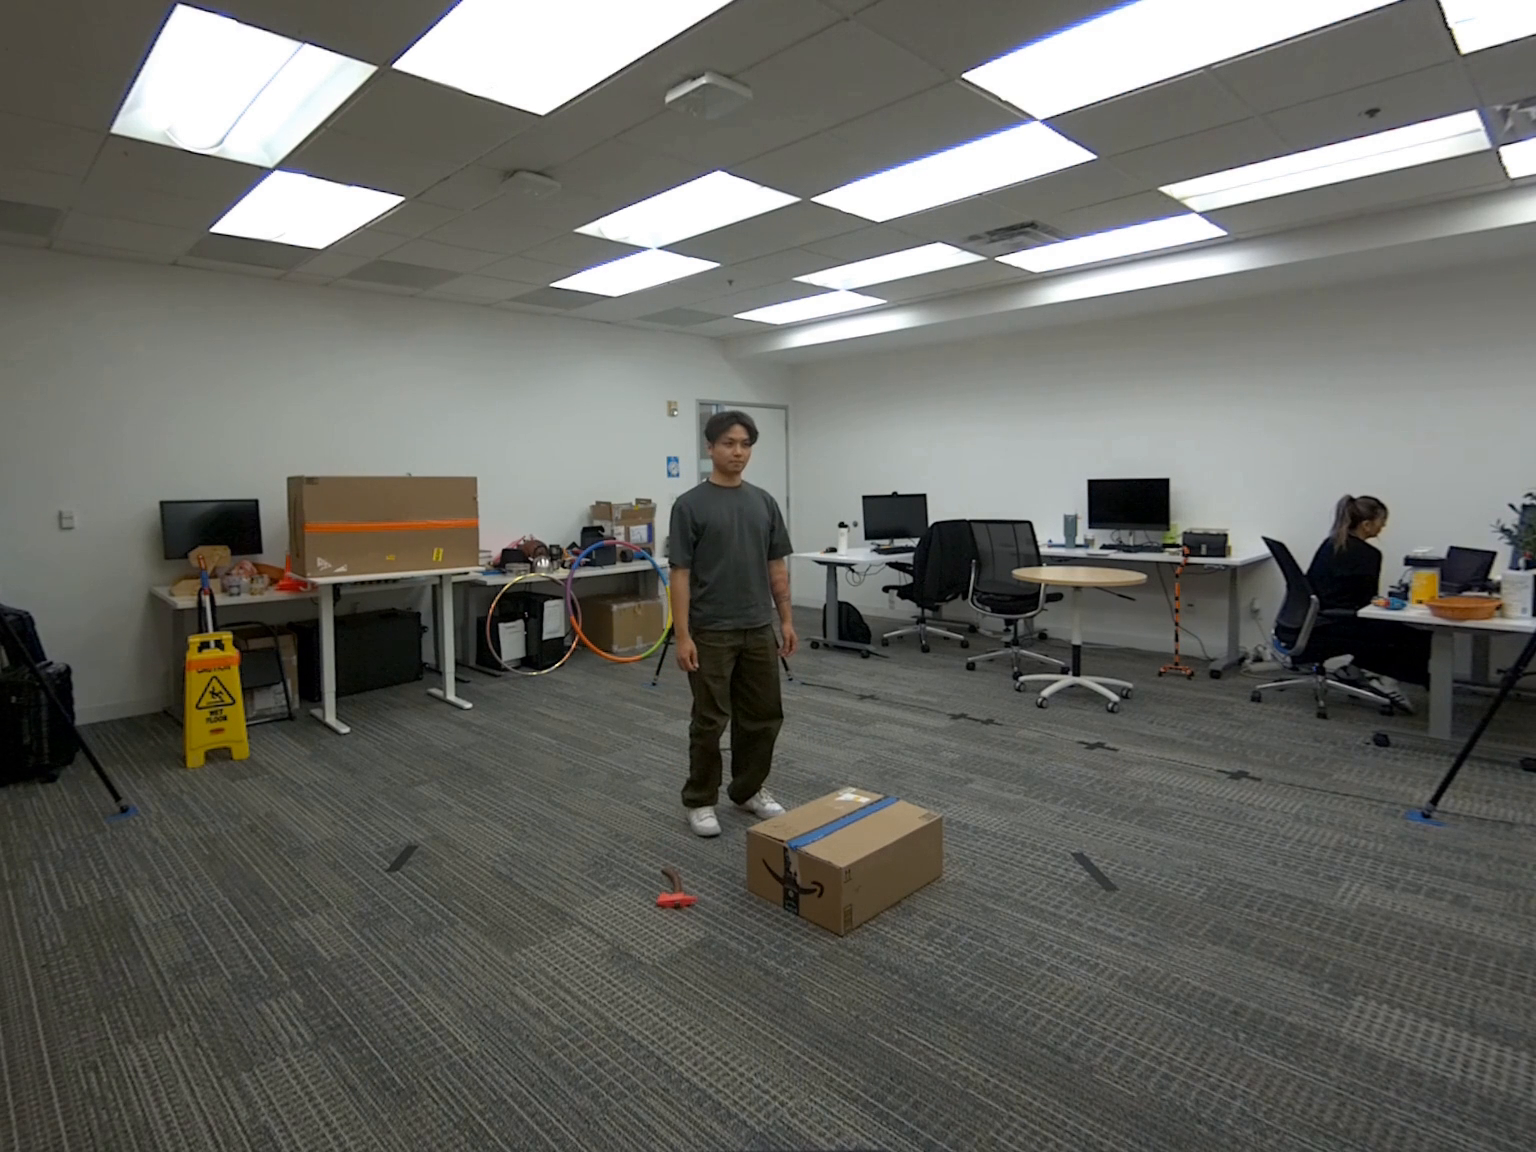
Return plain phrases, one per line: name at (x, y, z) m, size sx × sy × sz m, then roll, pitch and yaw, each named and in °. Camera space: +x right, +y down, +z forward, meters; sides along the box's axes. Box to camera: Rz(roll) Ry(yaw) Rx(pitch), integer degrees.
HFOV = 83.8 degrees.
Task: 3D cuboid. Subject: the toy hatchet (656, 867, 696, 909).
toy hatchet at (-0.348, 1.067, 2.910) m, size 0.128 × 0.029 × 0.276 m, roll -5°, pitch 6°, yaw -24°
